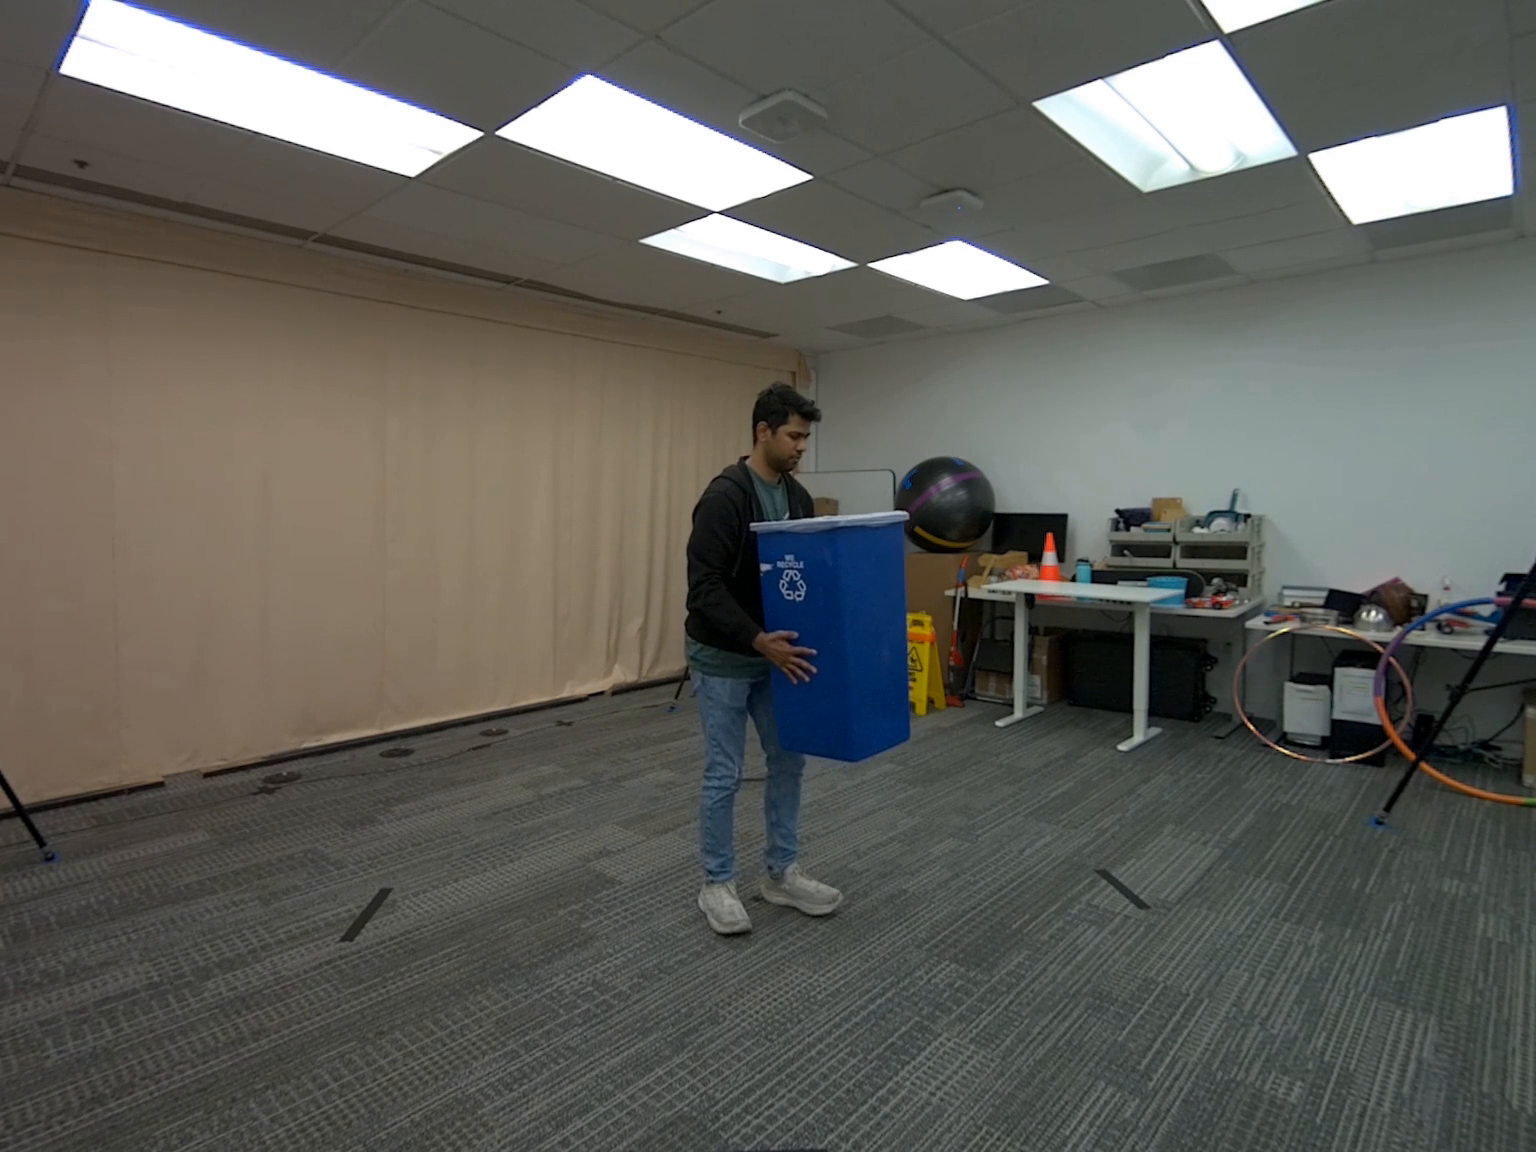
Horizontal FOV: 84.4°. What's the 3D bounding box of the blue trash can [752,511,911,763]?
[{"bbox_3d":[0.233,0.176,2.623,0.386,0.712,0.367,-2,4,43],"label":"blue trash can"}]
